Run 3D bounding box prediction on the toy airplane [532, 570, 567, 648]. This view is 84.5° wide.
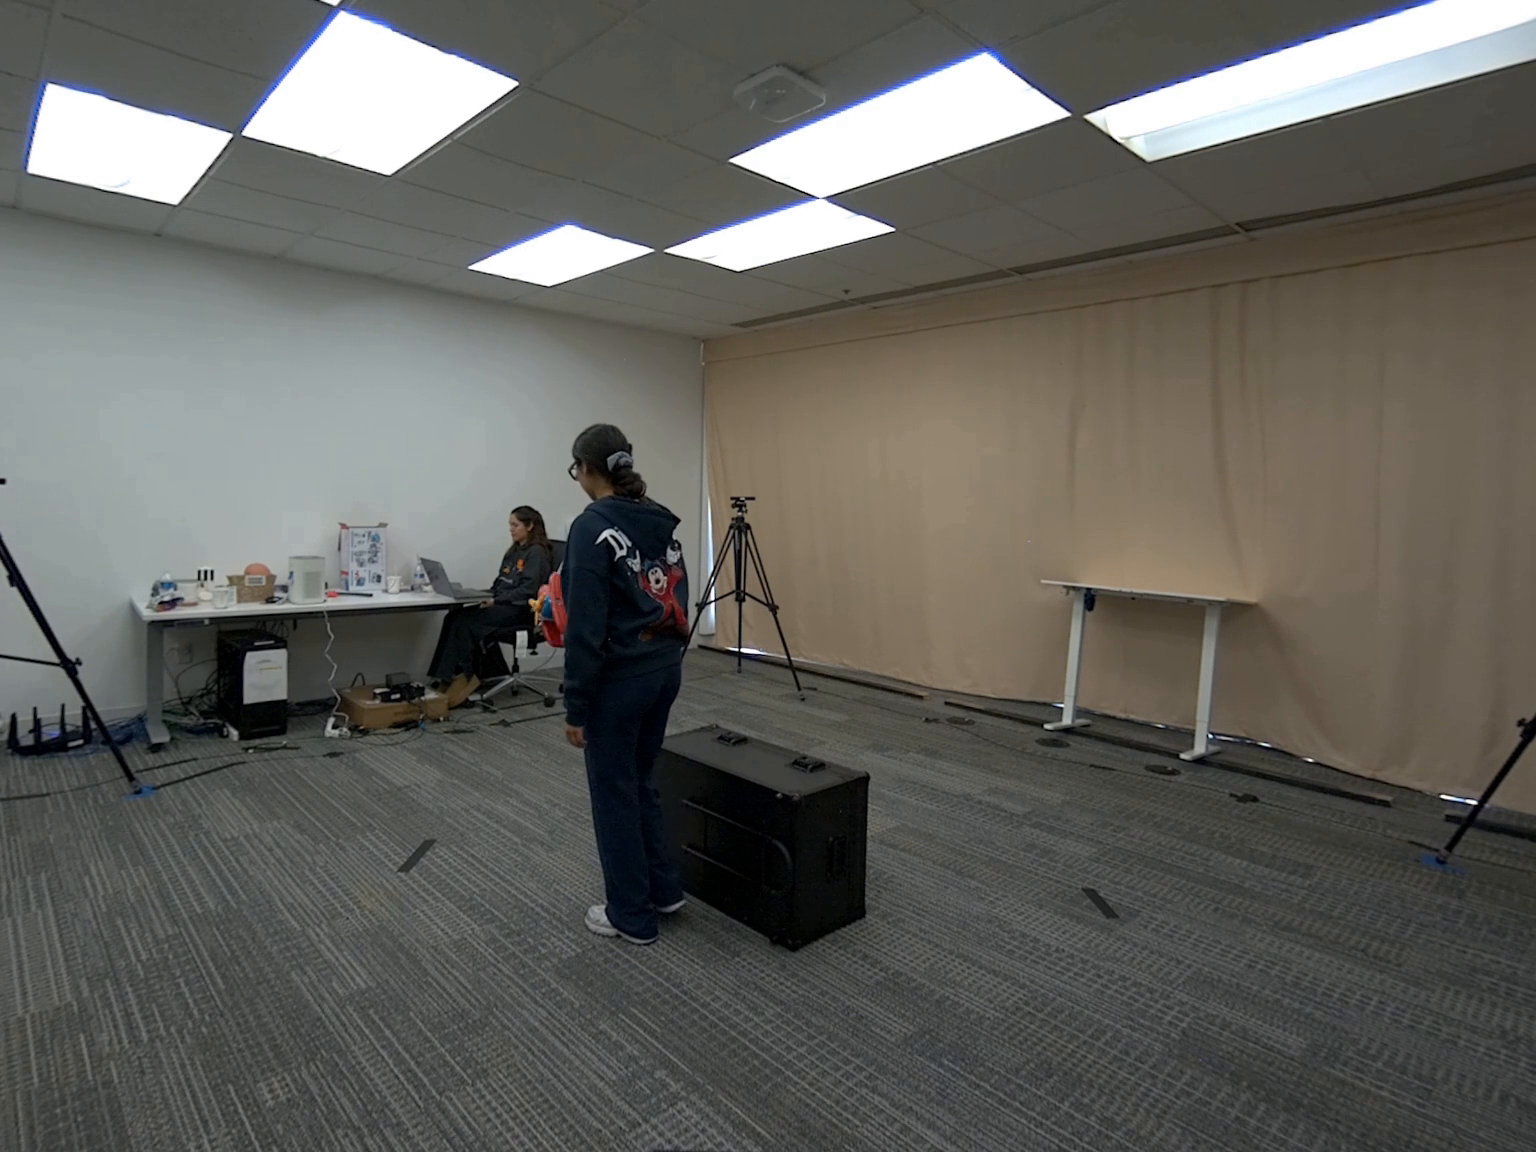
[{"bbox_3d":[-0.697,0.119,2.938,0.256,0.255,0.155,-27,-21,-42],"label":"toy airplane"}]
